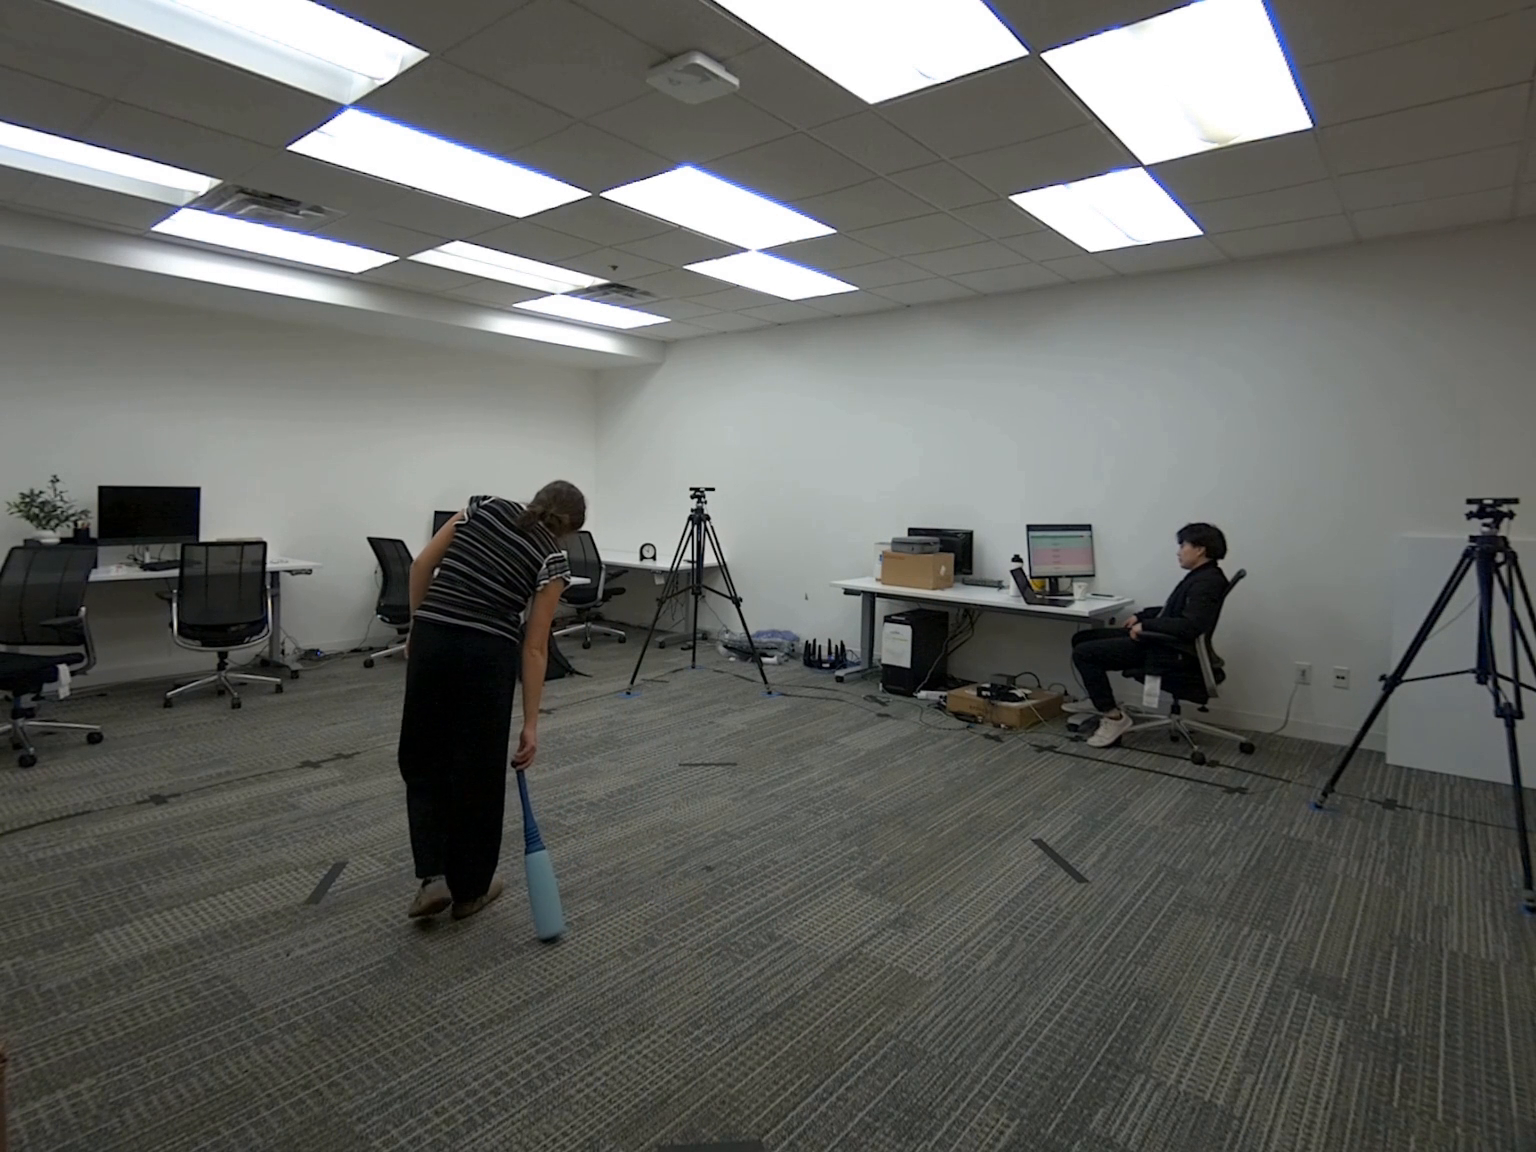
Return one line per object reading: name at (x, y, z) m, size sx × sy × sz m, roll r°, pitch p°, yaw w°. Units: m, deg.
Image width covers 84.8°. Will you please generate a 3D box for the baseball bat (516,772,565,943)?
baseball bat at (-0.746, 0.854, 2.665) m, size 0.088 × 0.554 × 0.087 m, roll -16°, pitch -16°, yaw -6°
